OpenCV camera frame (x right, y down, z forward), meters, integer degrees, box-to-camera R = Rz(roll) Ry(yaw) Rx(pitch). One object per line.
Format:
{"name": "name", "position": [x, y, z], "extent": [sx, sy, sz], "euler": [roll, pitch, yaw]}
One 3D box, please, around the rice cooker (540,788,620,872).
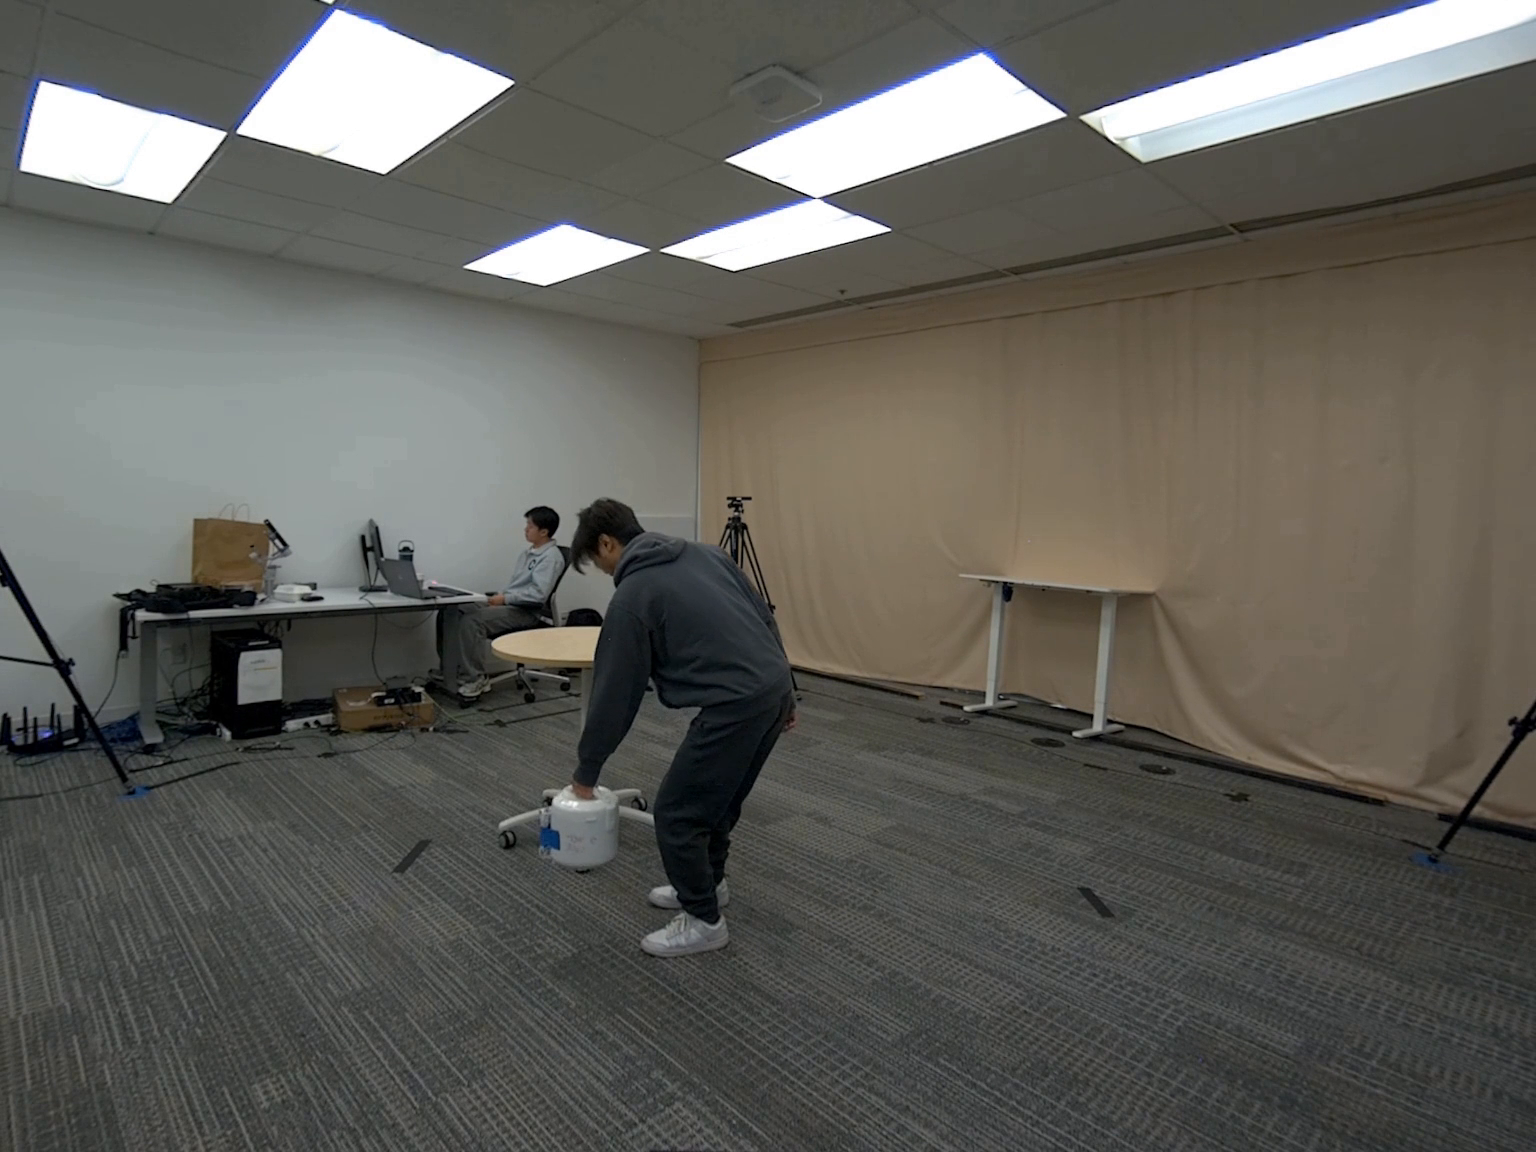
{"name": "rice cooker", "position": [-0.572, 0.763, 2.607], "extent": [0.225, 0.232, 0.213], "euler": [3, 3, 31]}
